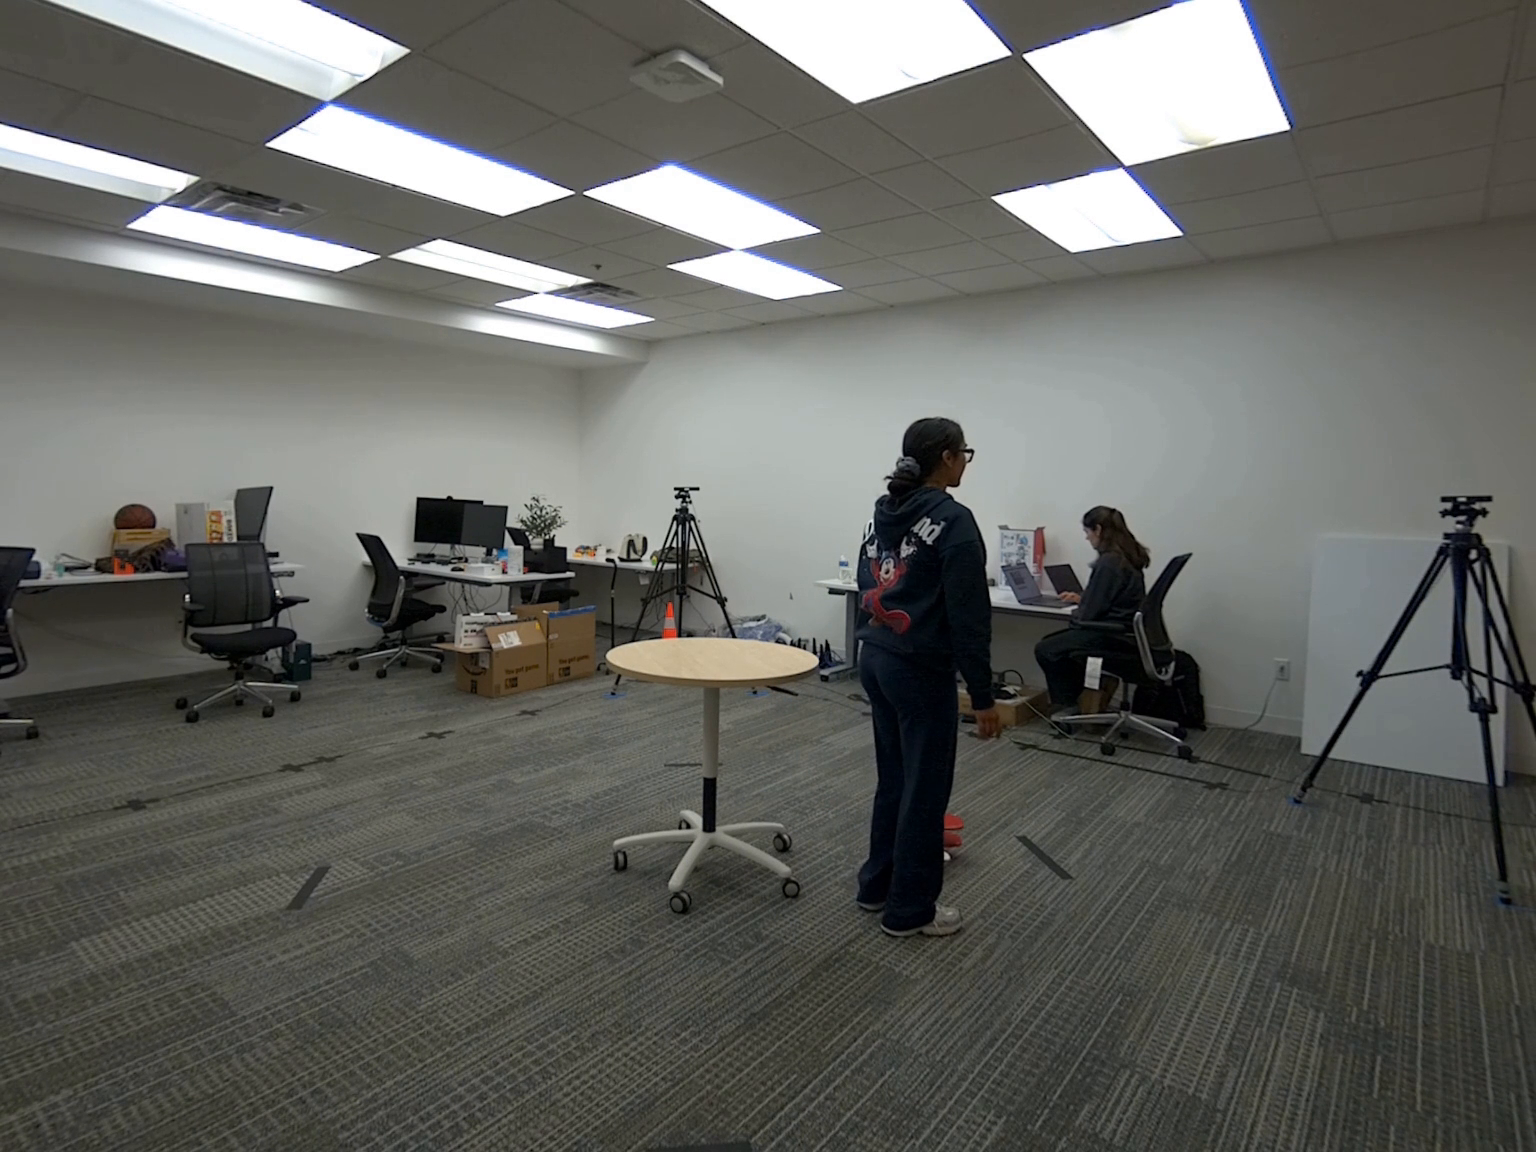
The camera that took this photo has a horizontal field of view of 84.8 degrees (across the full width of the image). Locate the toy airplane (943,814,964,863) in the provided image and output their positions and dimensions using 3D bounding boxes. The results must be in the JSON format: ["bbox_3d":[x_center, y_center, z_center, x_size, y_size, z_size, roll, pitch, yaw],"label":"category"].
[{"bbox_3d":[0.619,0.989,3.227,0.245,0.156,0.266,-1,5,-23],"label":"toy airplane"}]
